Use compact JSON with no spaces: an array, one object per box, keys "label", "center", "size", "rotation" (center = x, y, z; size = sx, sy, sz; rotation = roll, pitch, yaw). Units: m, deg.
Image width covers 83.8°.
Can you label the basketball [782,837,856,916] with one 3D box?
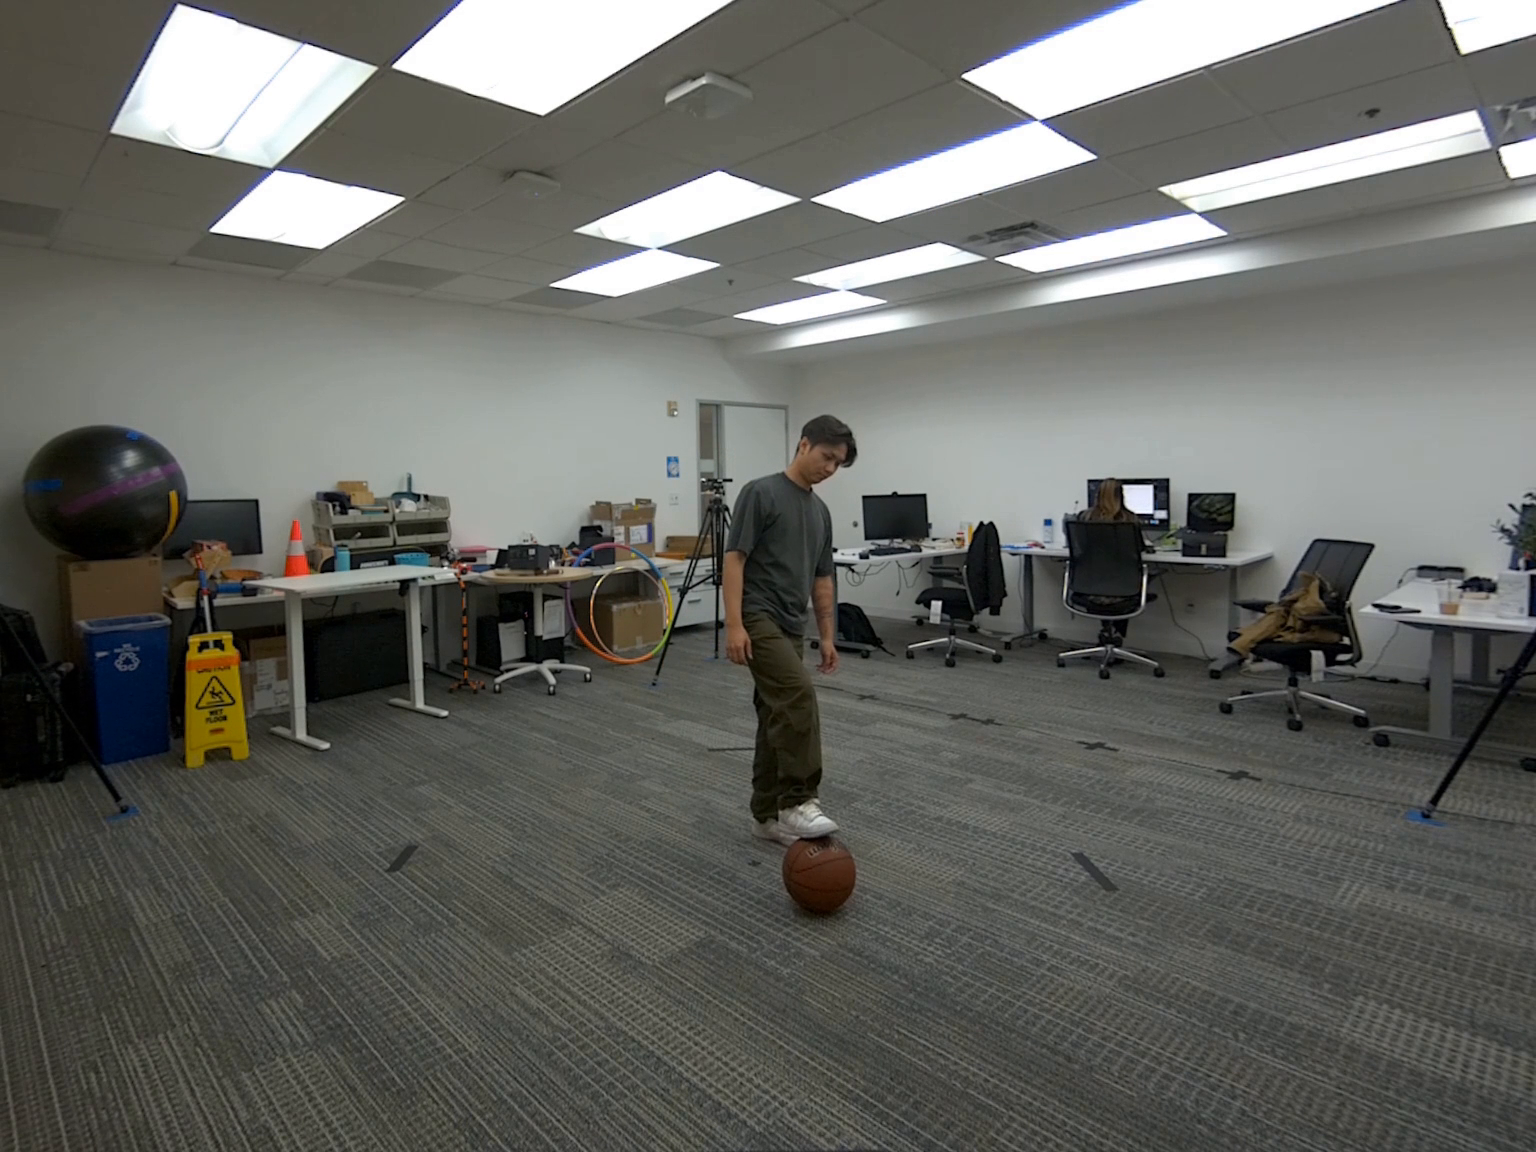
[{"label":"basketball","center":[0.168,0.962,2.776],"size":[0.236,0.235,0.237],"rotation":[-1,5,-2]}]
